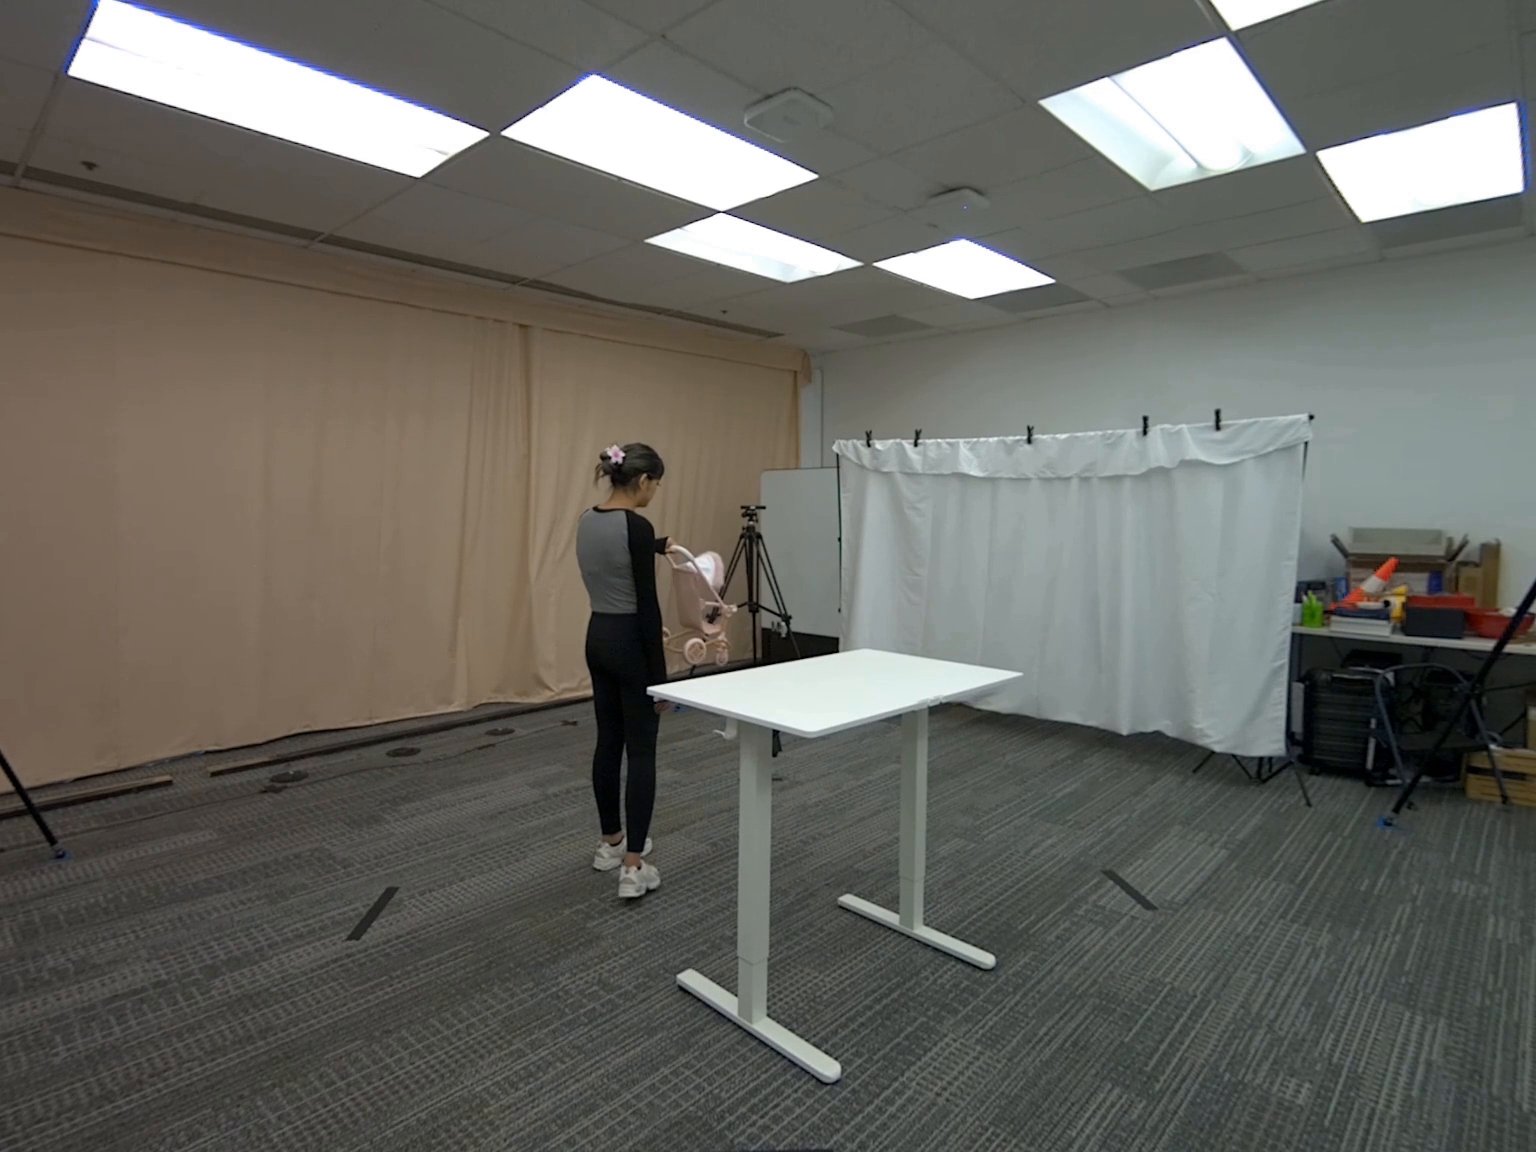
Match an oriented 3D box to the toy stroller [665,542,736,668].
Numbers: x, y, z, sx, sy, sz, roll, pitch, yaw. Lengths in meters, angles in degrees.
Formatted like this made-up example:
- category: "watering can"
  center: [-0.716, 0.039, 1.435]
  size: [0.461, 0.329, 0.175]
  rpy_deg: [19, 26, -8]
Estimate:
- category: "toy stroller"
  center: [-0.285, 0.137, 3.578]
  size: [0.331, 0.533, 0.291]
  rpy_deg: [-2, 7, -36]
